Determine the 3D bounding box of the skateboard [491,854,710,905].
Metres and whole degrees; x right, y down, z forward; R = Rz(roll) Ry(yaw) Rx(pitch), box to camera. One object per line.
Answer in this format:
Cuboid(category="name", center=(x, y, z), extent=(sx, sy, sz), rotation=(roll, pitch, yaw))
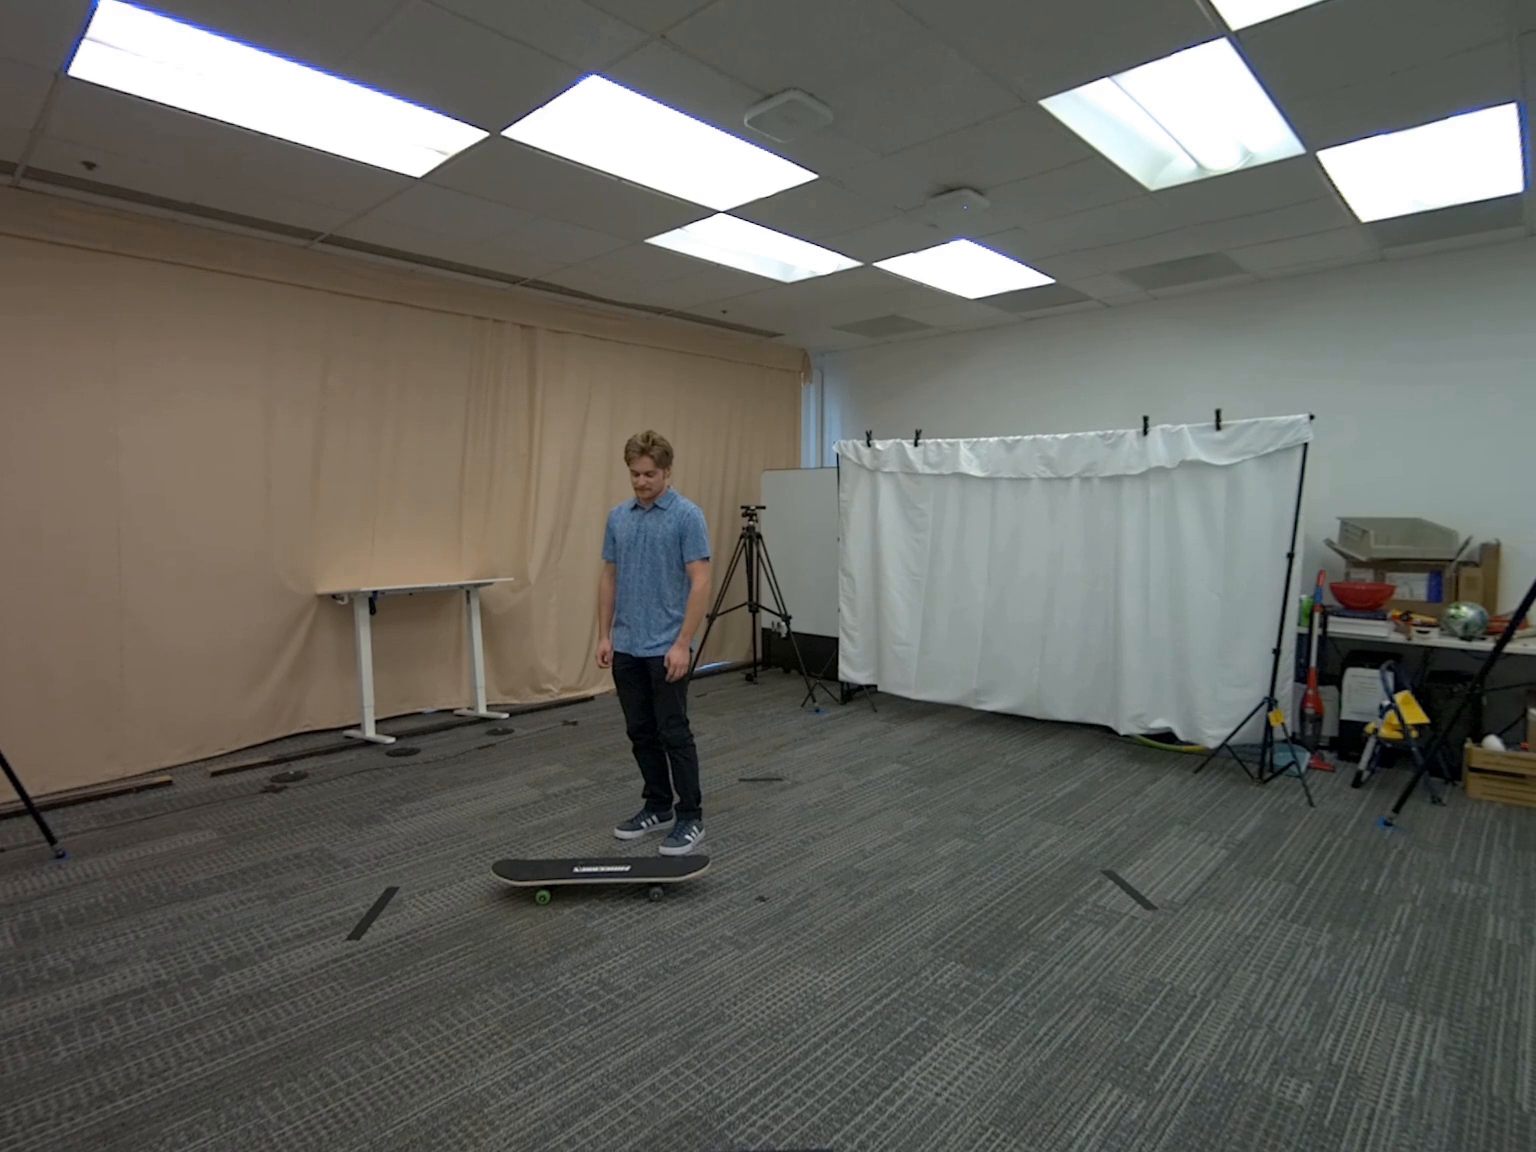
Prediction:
Cuboid(category="skateboard", center=(-0.598, 1.086, 3.039), extent=(0.783, 0.110, 0.194), rotation=(-1, 5, -2))
